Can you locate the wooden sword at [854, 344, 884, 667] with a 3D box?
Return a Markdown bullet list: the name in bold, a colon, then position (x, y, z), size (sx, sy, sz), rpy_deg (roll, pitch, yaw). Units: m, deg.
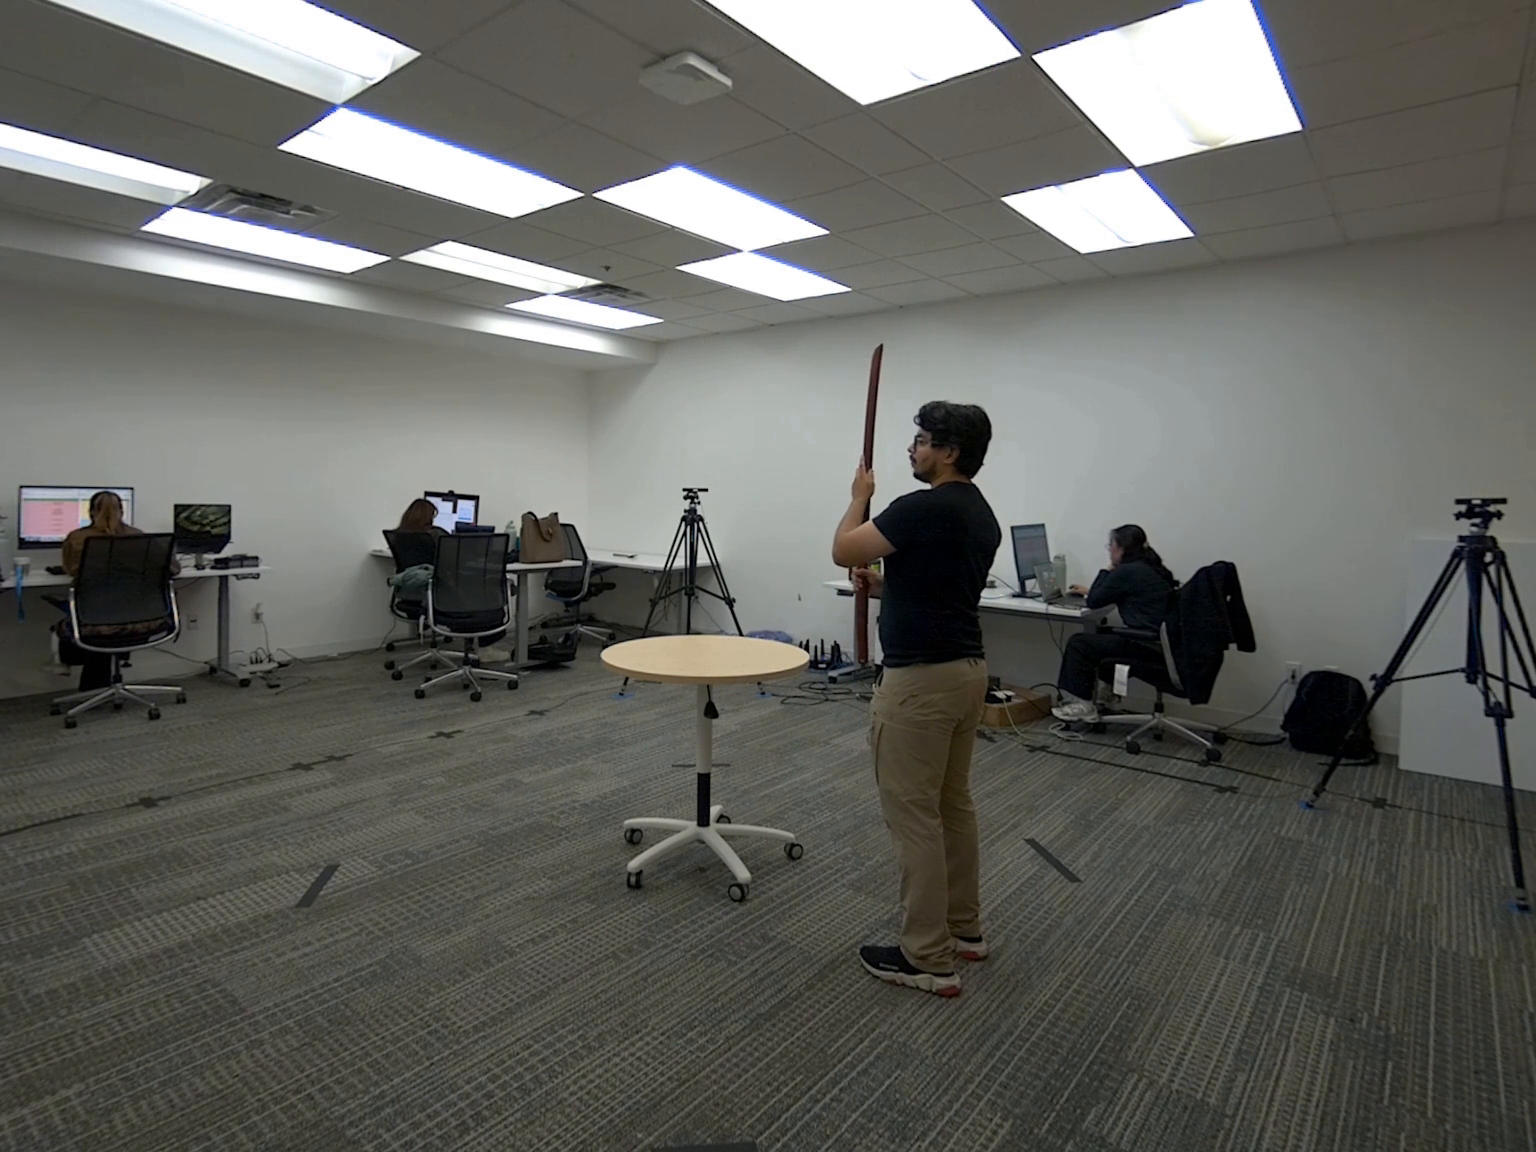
- **wooden sword**: position (0.312, -0.244, 2.731), size (0.024, 1.024, 0.051), rpy_deg (5, 0, 6)
